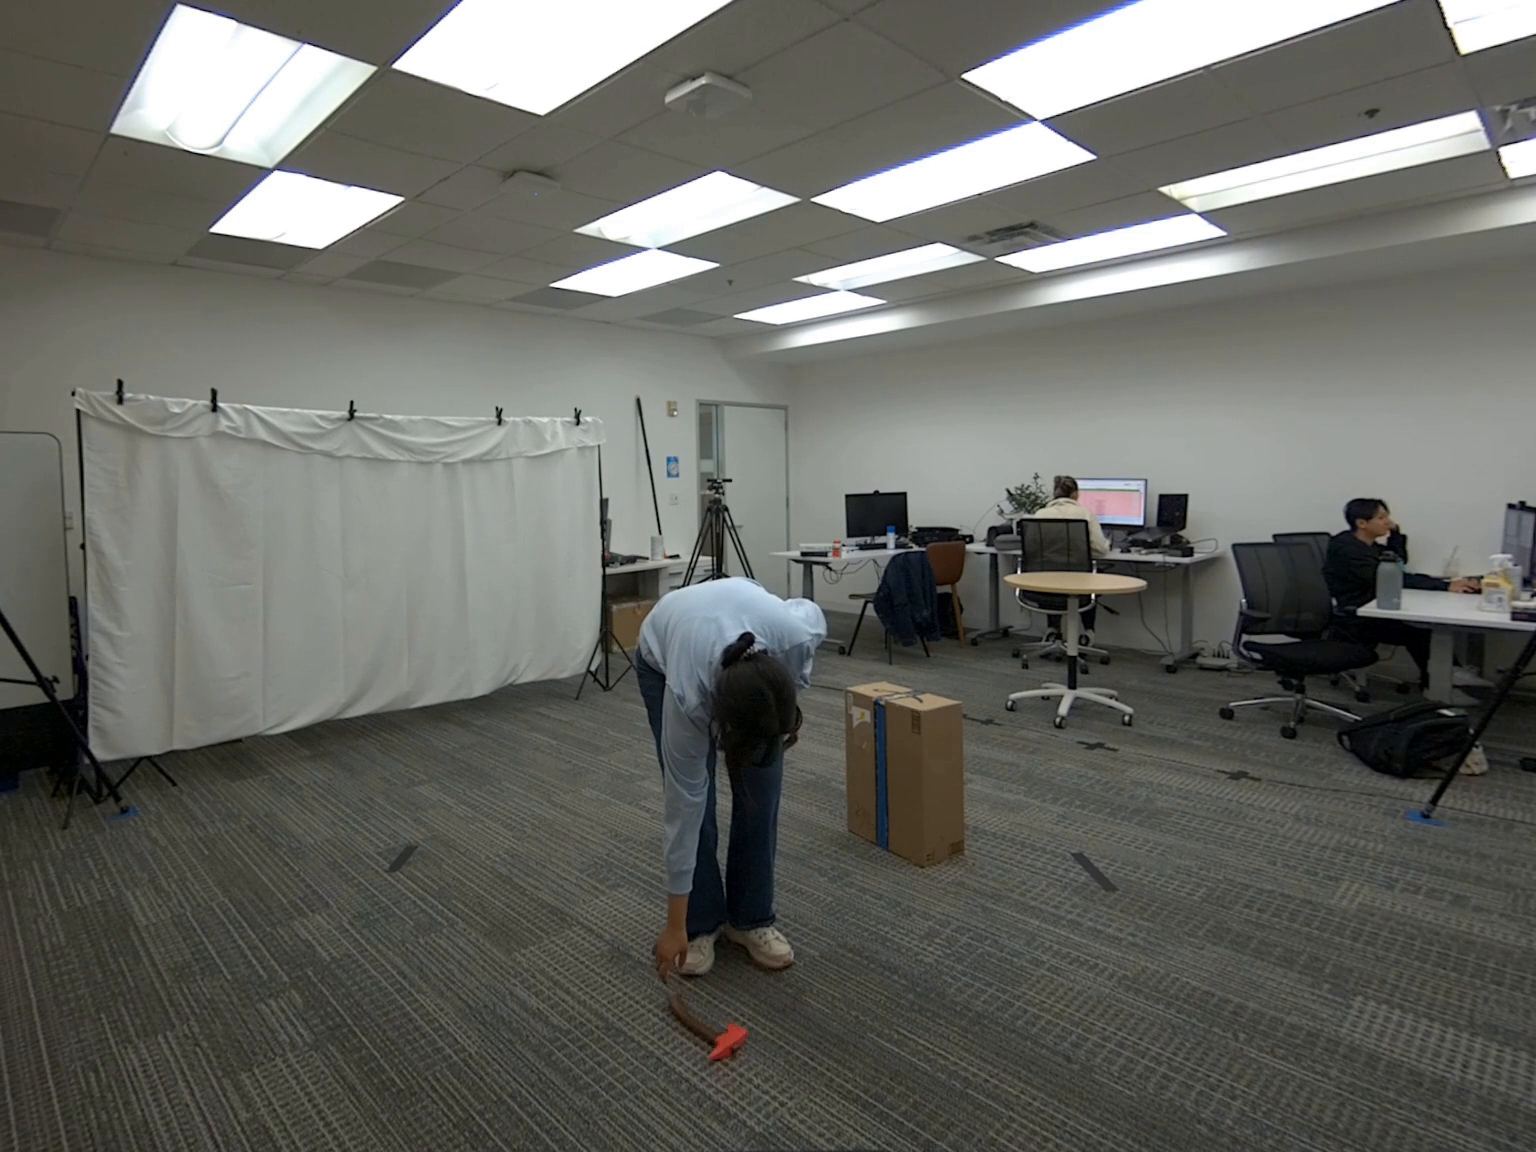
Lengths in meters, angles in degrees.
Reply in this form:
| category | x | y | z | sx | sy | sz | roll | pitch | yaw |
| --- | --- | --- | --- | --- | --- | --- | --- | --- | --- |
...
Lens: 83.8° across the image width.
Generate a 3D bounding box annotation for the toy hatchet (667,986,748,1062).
| category | x | y | z | sx | sy | sz | roll | pitch | yaw |
| --- | --- | --- | --- | --- | --- | --- | --- | --- | --- |
| toy hatchet | -0.146 | 1.138 | 2.179 | 0.128 | 0.029 | 0.278 | -8 | 11 | -28 |
